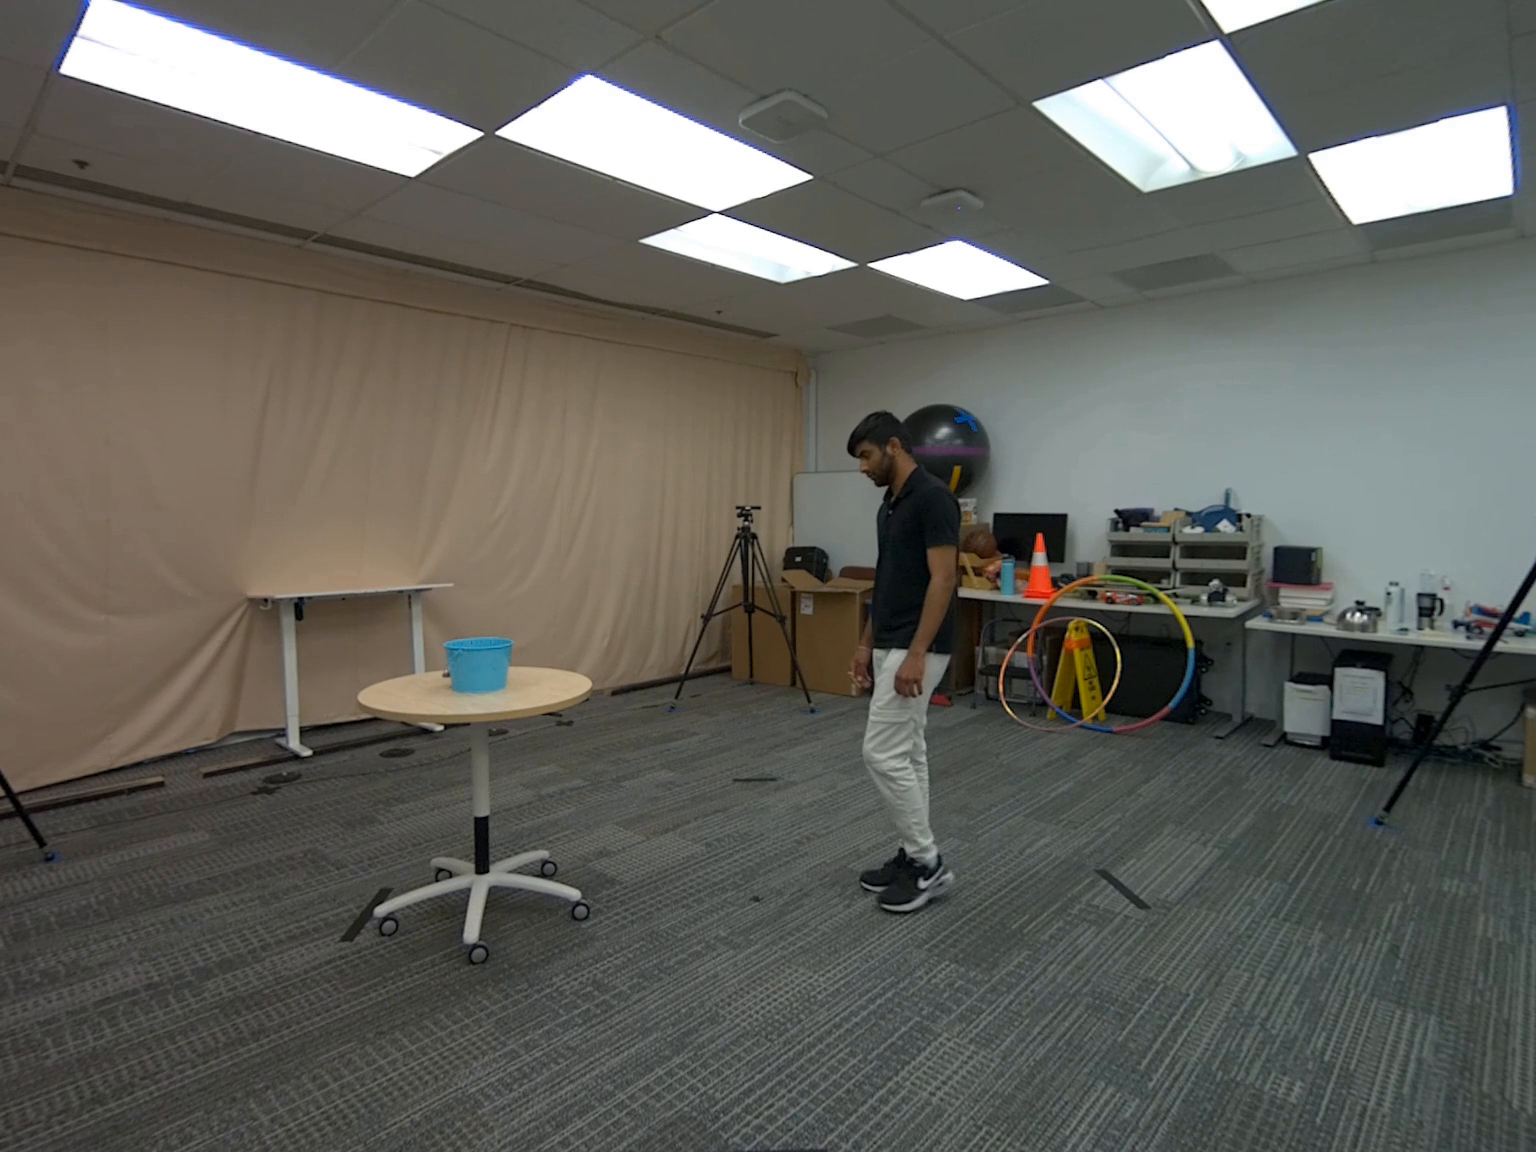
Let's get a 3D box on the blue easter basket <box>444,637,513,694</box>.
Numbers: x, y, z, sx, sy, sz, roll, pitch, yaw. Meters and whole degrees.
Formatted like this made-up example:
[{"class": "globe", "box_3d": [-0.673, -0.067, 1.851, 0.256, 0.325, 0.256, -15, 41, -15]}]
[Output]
[{"class": "blue easter basket", "box_3d": [-0.990, 0.305, 2.877, 0.243, 0.155, 0.244, 1, 5, -2]}]
